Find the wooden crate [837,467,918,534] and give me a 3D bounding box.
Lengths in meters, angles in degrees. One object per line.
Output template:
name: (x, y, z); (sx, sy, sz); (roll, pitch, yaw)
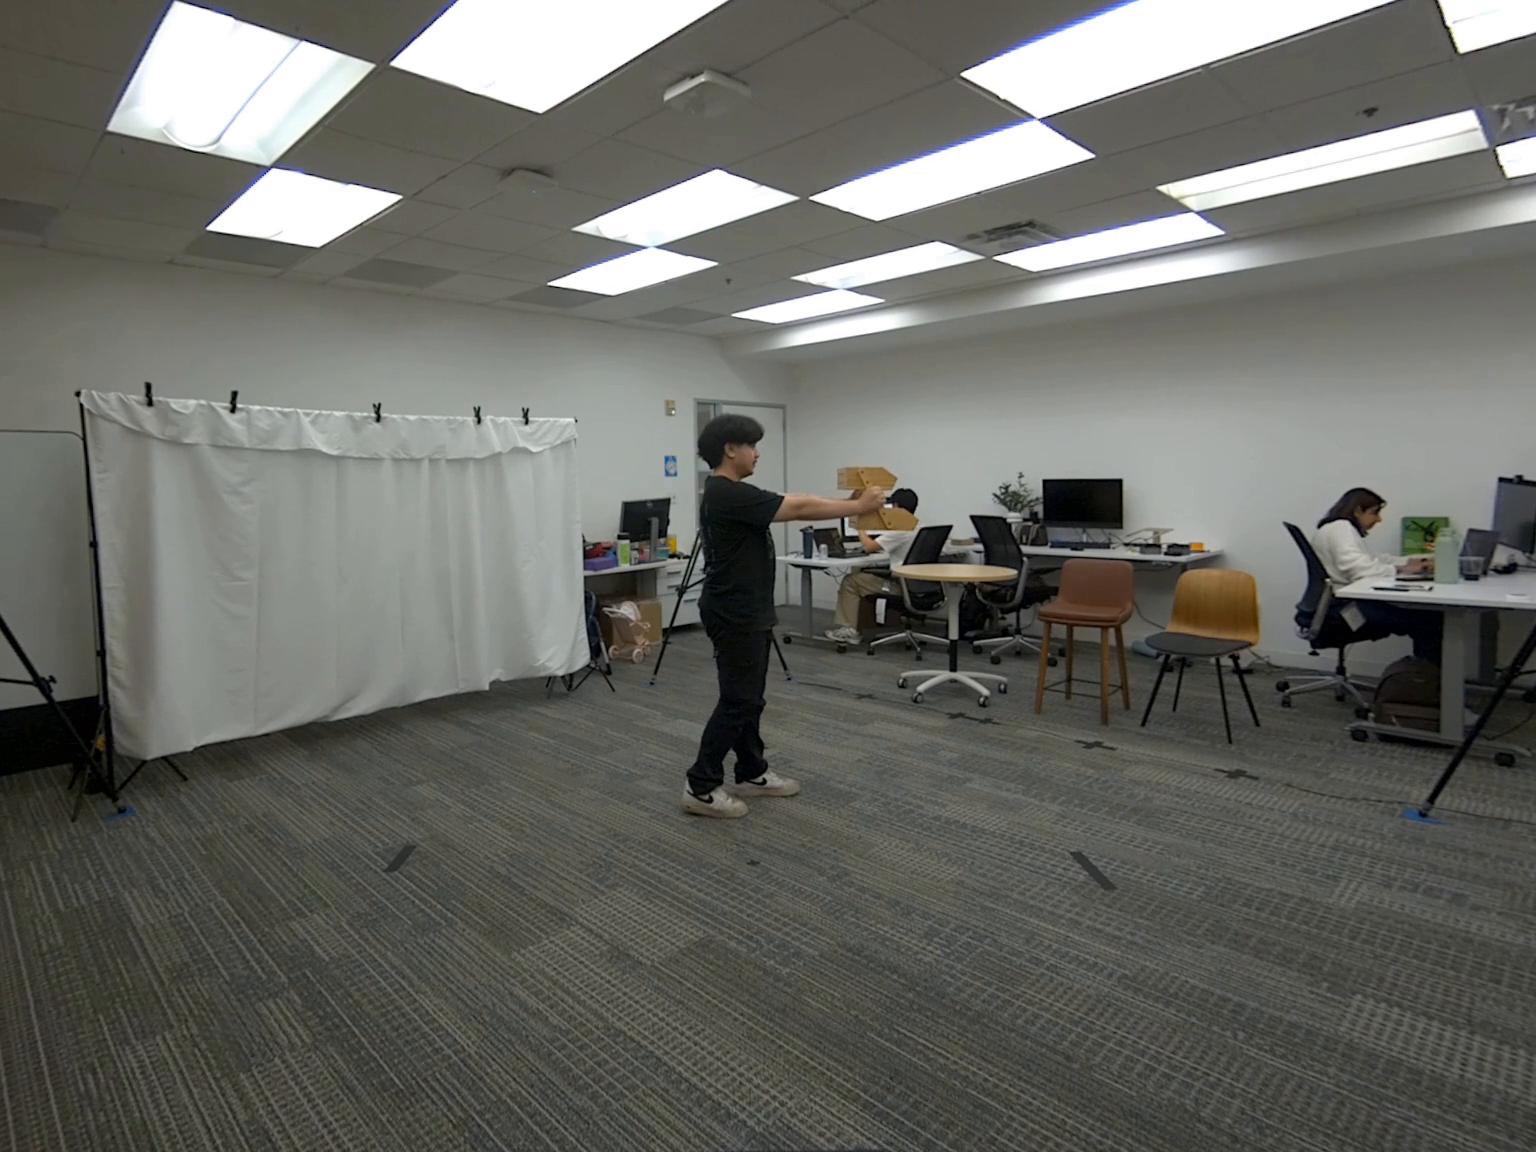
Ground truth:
wooden crate: (0.463, -0.334, 3.643); (0.303, 0.272, 0.325); (0, 4, 1)
